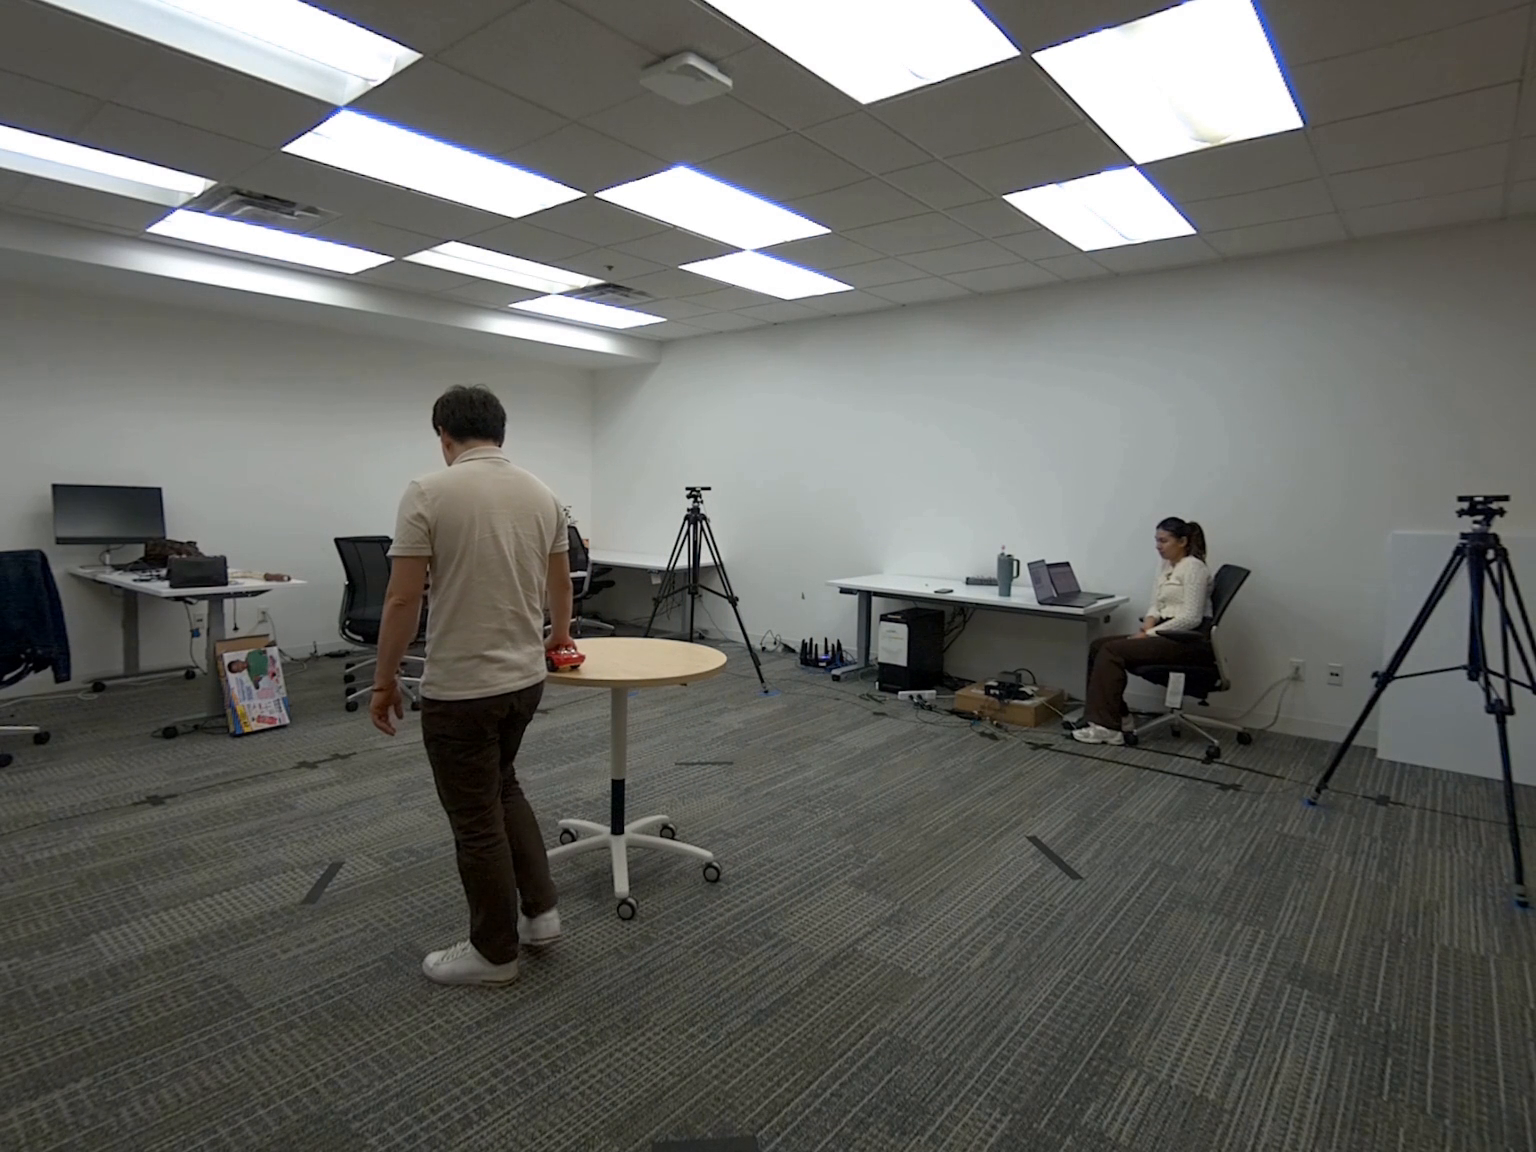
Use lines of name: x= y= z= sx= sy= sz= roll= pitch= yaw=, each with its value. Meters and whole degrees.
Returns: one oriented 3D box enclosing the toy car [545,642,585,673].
toy car: x=-0.718 y=0.271 z=2.817 sx=0.261 sy=0.084 sz=0.126 roll=-9 pitch=-5 yaw=44
